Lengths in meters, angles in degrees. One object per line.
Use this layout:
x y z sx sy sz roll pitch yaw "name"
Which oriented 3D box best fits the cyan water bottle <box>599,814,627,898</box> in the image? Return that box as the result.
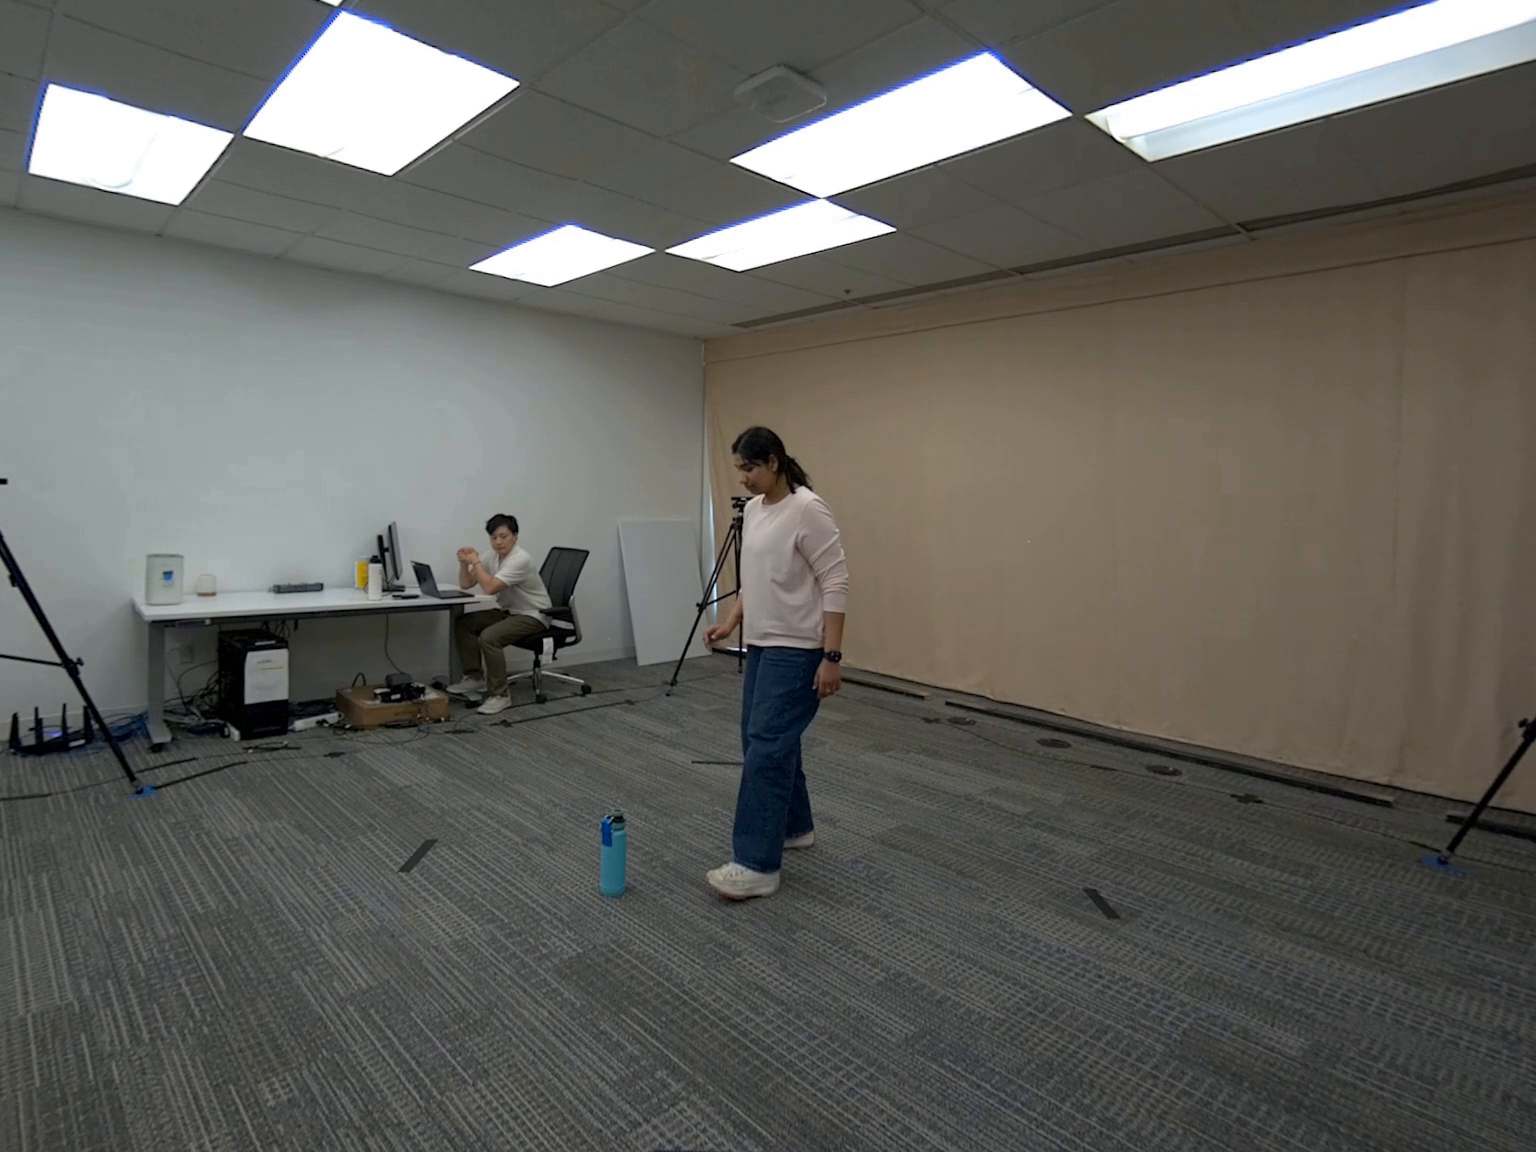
-0.547 0.970 2.956 0.092 0.283 0.092 1 3 -1 "cyan water bottle"
